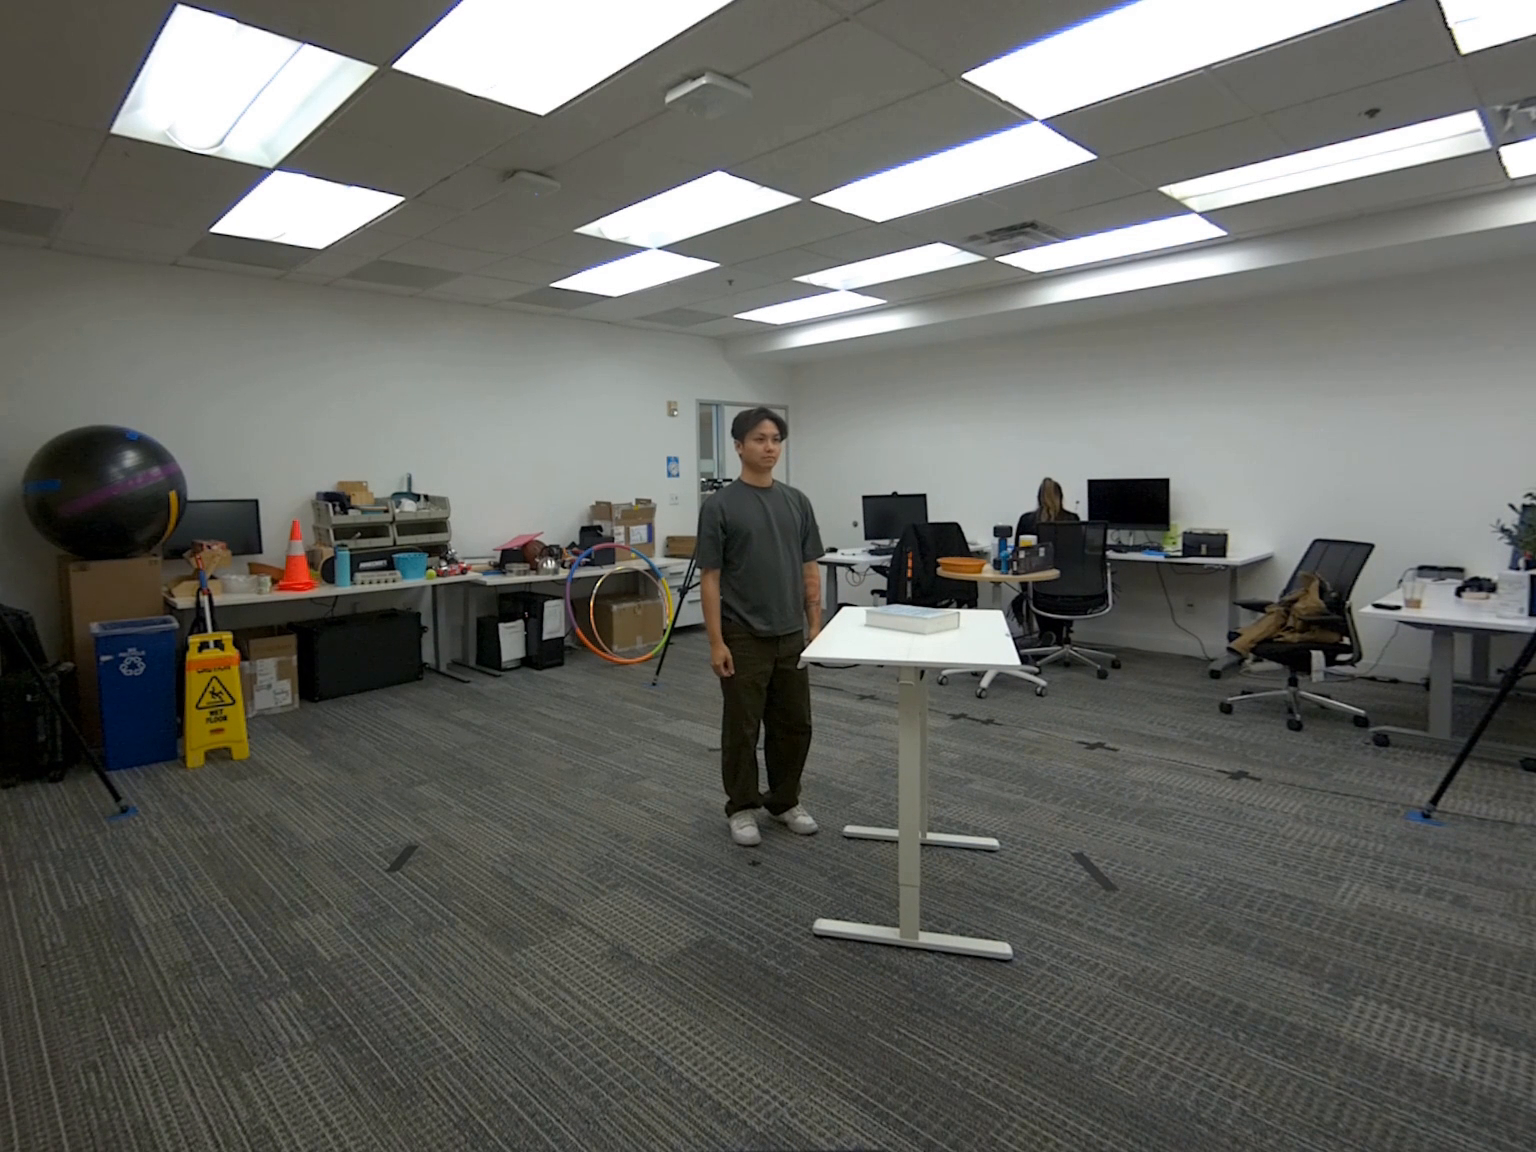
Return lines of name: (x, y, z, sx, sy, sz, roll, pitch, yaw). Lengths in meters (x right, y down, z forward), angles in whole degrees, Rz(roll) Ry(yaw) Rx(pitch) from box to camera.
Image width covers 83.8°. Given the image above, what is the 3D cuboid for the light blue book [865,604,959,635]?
light blue book: (0.501, 0.148, 2.917, 0.186, 0.059, 0.269, -6, 7, -42)
